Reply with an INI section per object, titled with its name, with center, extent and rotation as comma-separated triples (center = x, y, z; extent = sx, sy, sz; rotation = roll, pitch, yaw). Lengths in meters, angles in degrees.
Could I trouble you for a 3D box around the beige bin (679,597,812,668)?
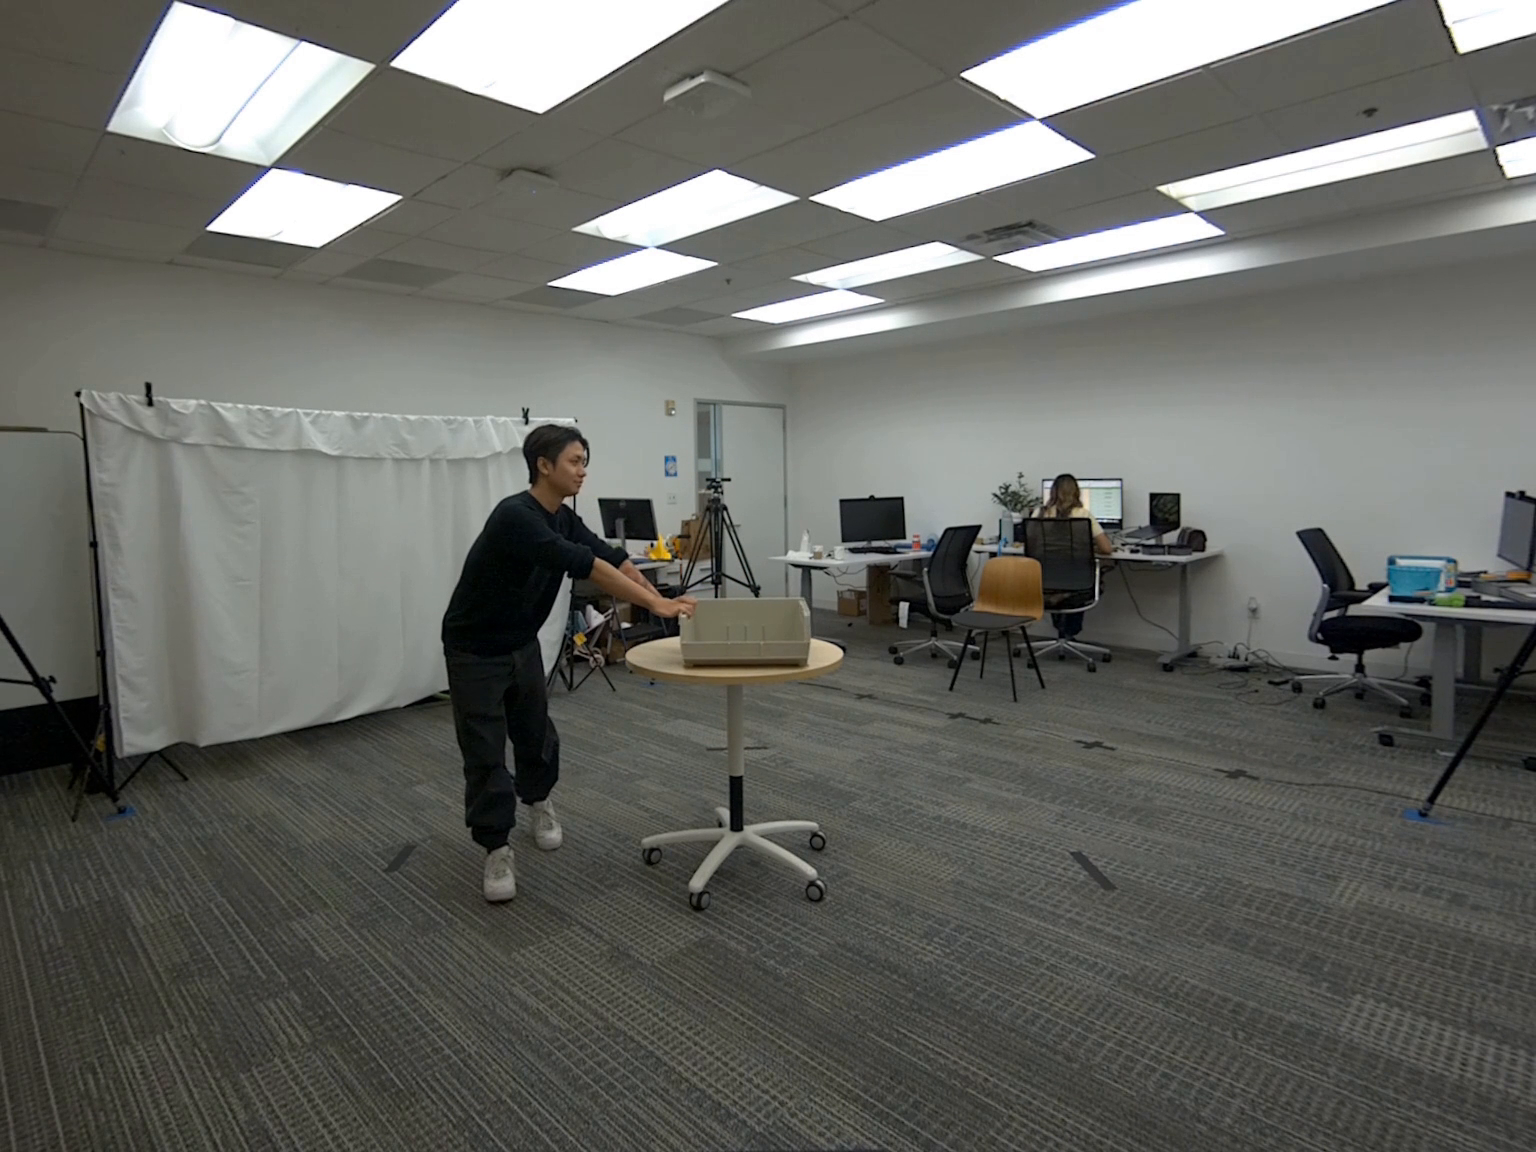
[beige bin]
center = -0.074, 0.201, 2.903
extent = 0.423, 0.188, 0.379
rotation = -1, 8, 1
